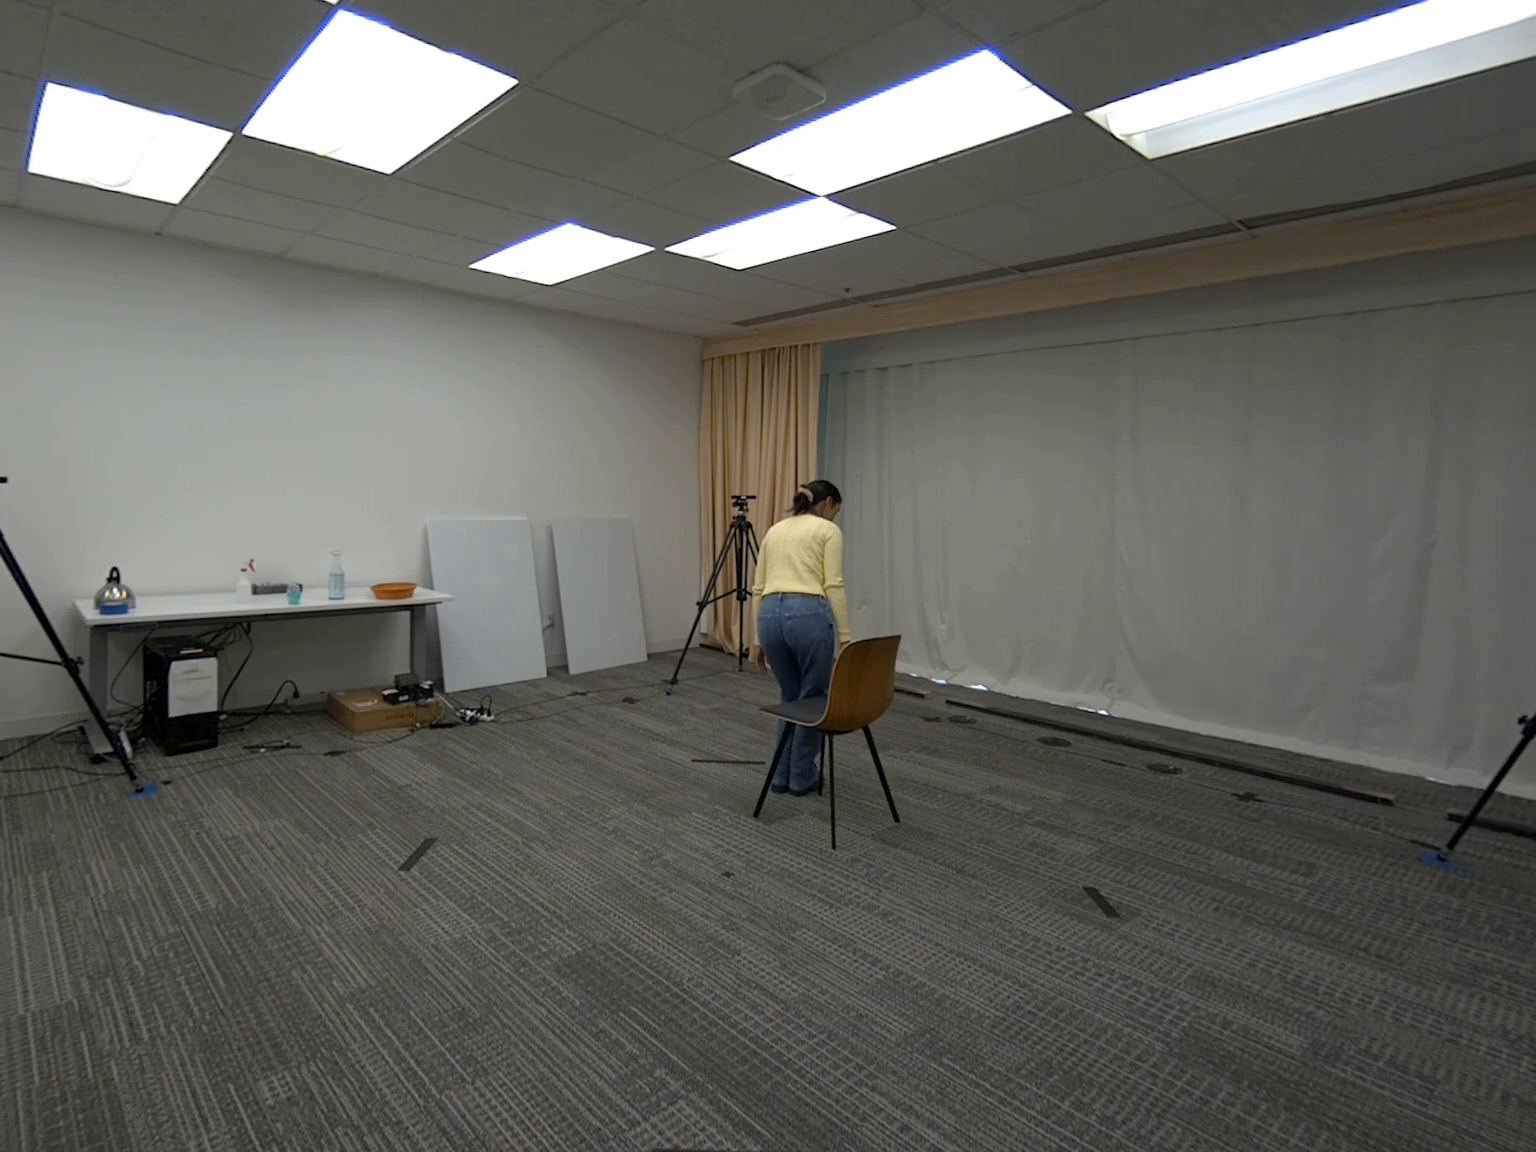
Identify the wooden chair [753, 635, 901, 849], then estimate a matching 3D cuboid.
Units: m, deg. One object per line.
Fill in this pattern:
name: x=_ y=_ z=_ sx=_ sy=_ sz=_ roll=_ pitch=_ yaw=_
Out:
wooden chair: x=0.252 y=0.637 z=3.637 sx=0.537 sy=0.874 sz=0.467 roll=10 pitch=9 yaw=44
